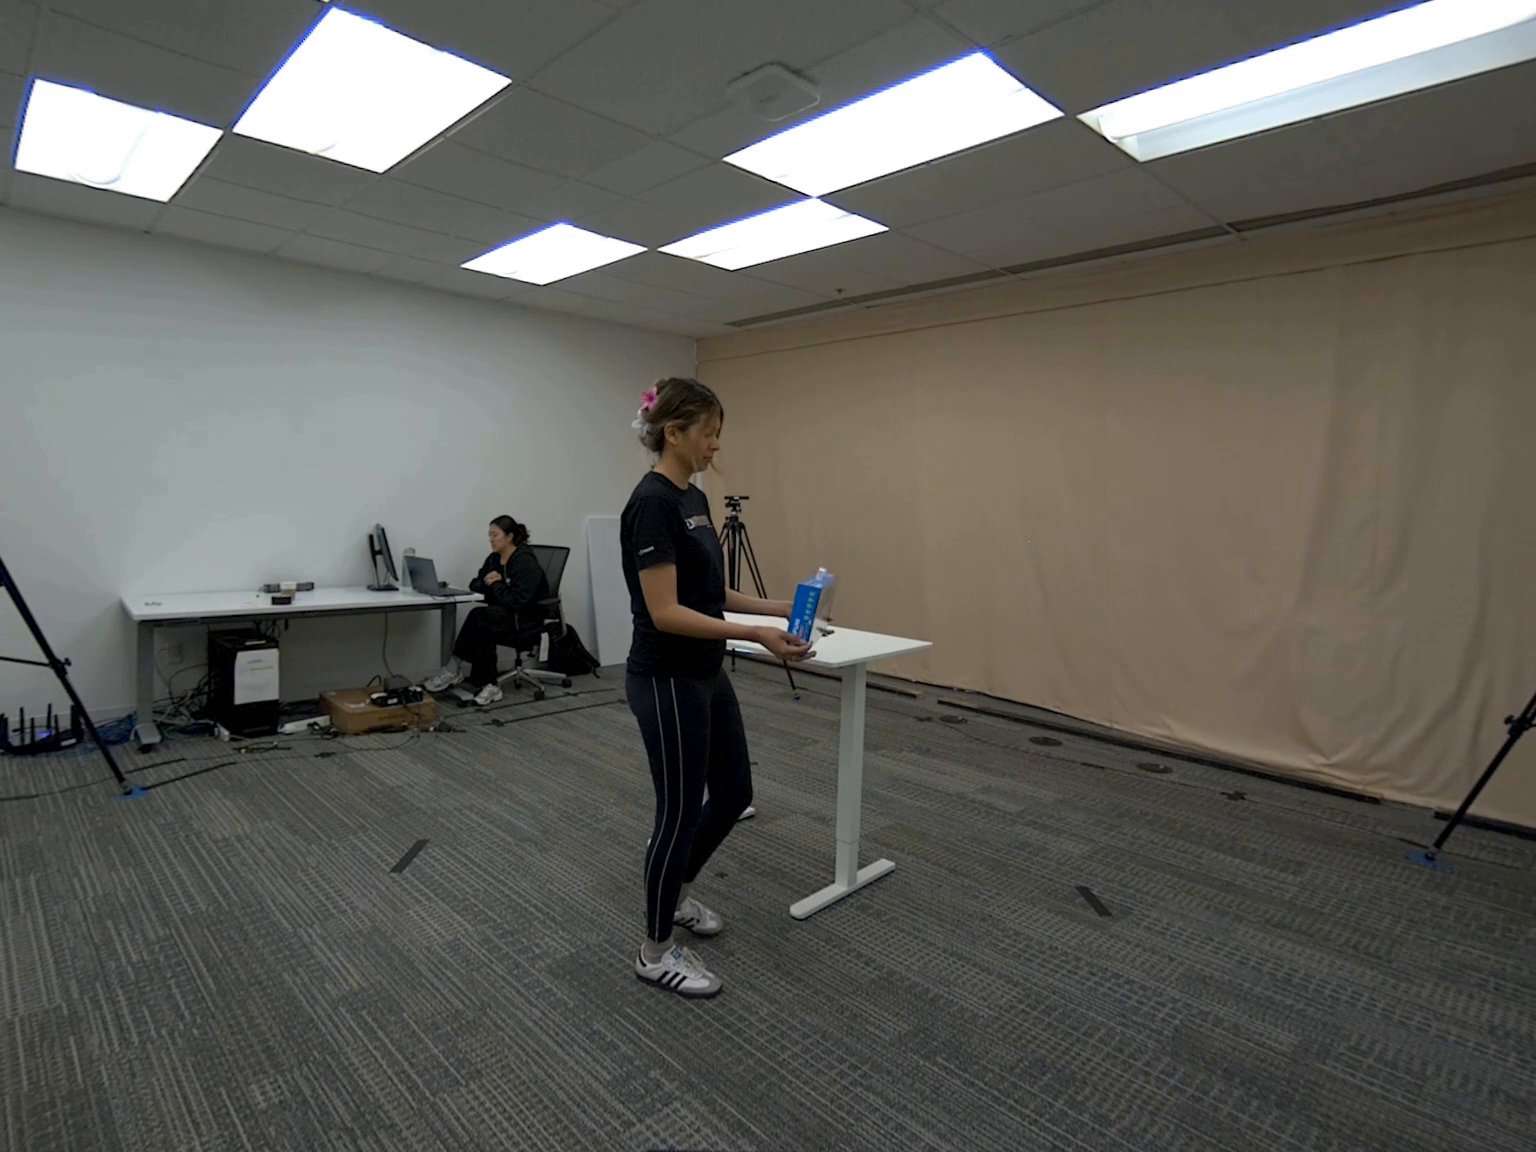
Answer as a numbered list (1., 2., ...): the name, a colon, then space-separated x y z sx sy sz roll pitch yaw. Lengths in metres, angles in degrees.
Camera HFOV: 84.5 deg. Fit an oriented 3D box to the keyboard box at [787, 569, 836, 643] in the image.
1. keyboard box: 0.115 0.090 2.251 0.060 0.175 0.433 11 6 10
